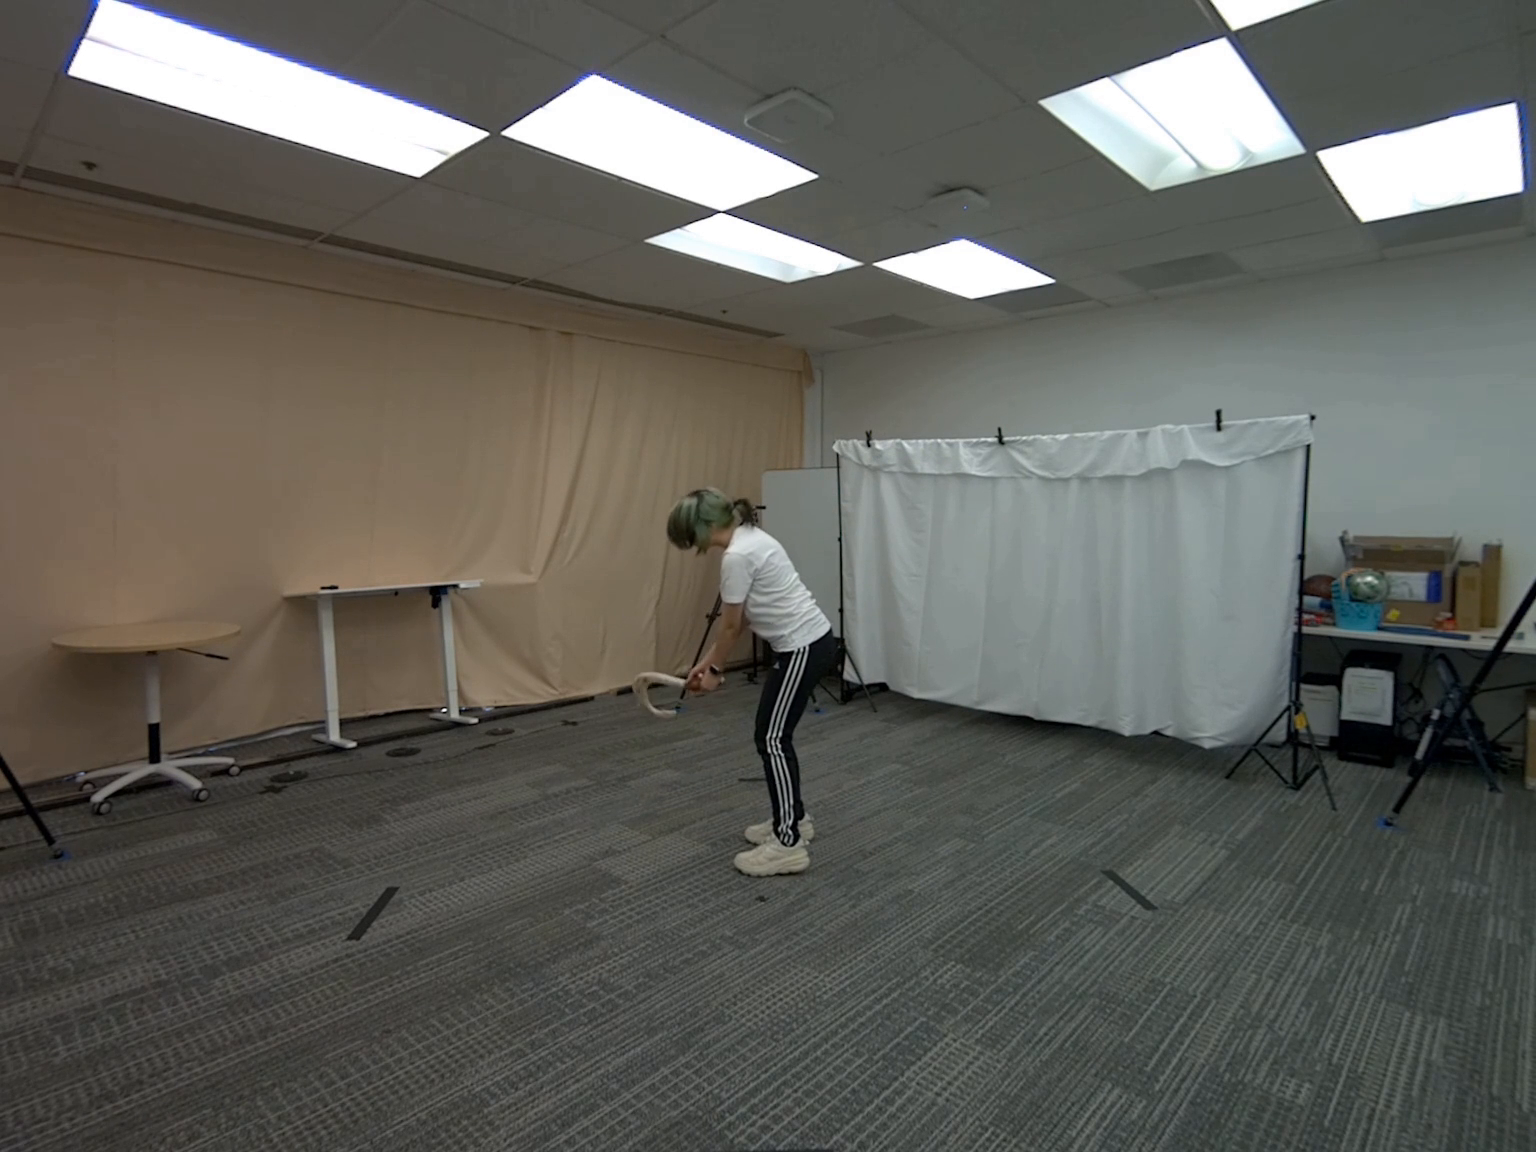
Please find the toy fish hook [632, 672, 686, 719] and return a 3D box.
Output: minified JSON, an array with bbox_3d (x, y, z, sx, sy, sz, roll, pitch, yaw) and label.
[{"bbox_3d":[-0.381,0.520,3.661,0.521,0.221,0.048,-6,20,34],"label":"toy fish hook"}]
